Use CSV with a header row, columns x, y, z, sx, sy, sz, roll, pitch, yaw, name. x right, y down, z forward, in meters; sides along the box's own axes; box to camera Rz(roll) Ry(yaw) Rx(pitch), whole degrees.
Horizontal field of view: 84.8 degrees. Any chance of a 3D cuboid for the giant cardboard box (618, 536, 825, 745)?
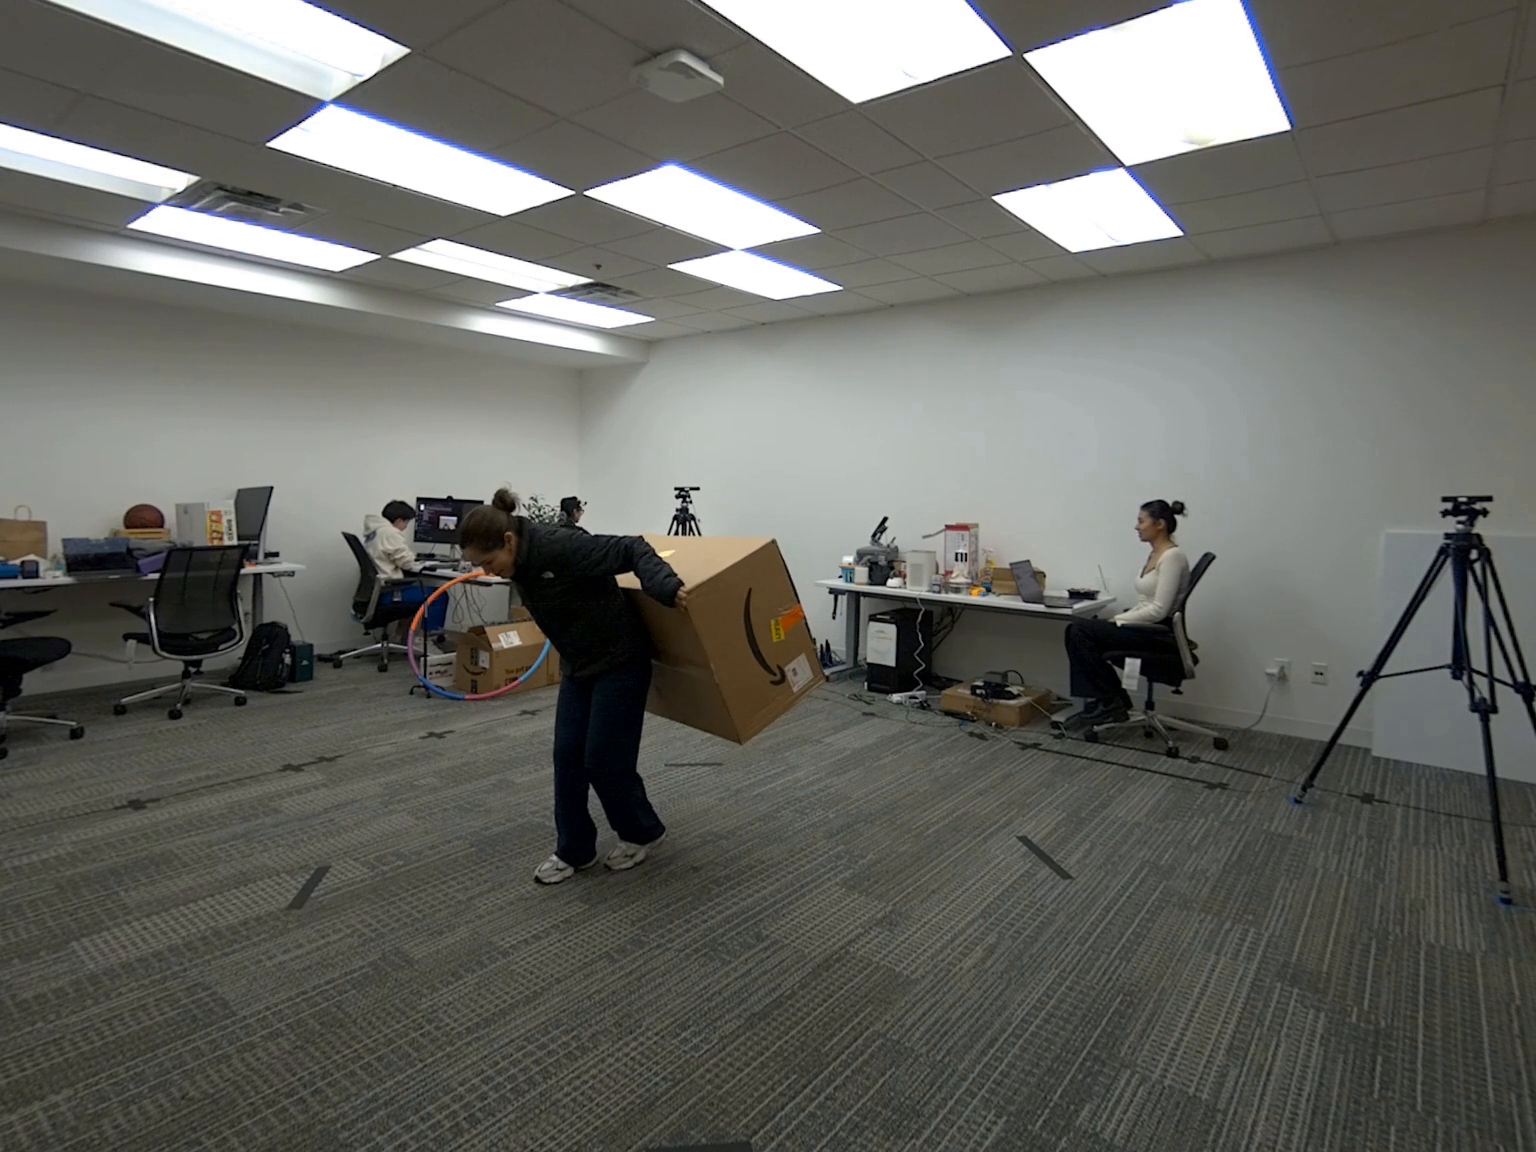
x,y,z,sx,sy,sz,roll,pitch,yaw,name
-0.331,0.185,3.298,0.421,0.566,1.058,-32,21,-32,giant cardboard box
